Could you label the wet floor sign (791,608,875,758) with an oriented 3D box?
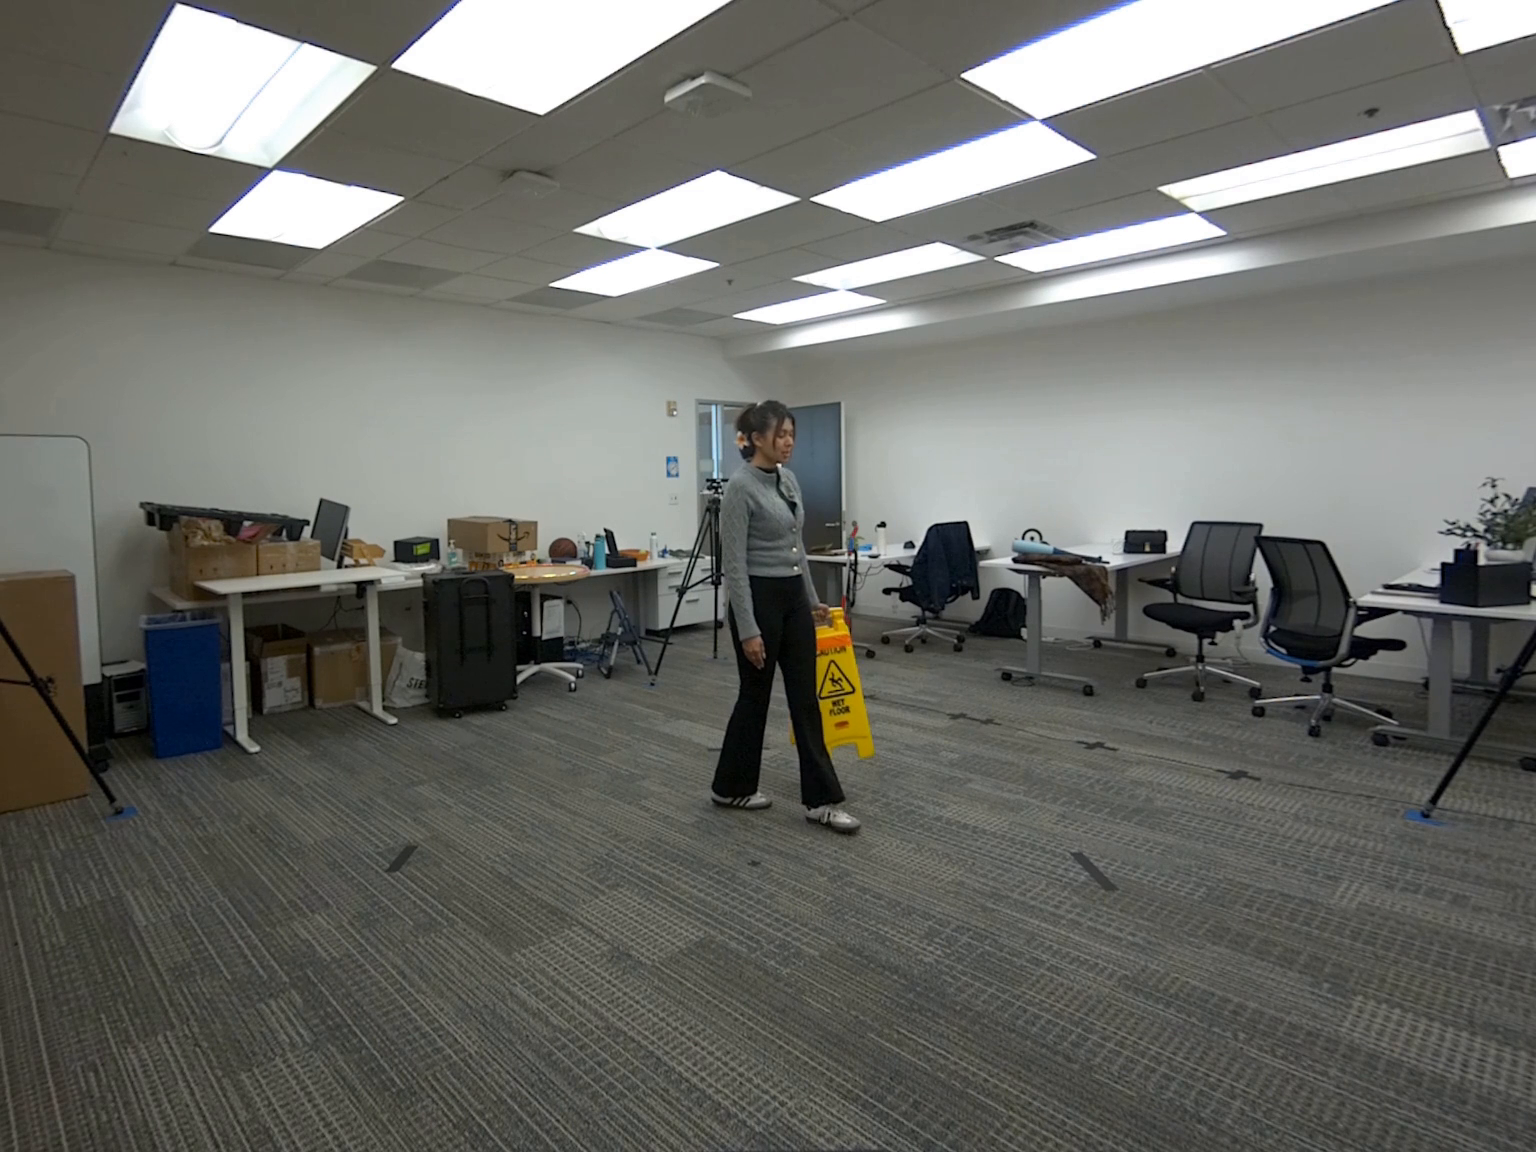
[{"bbox_3d":[0.264,0.463,3.784,0.278,0.640,0.297,-9,11,-19],"label":"wet floor sign"}]
